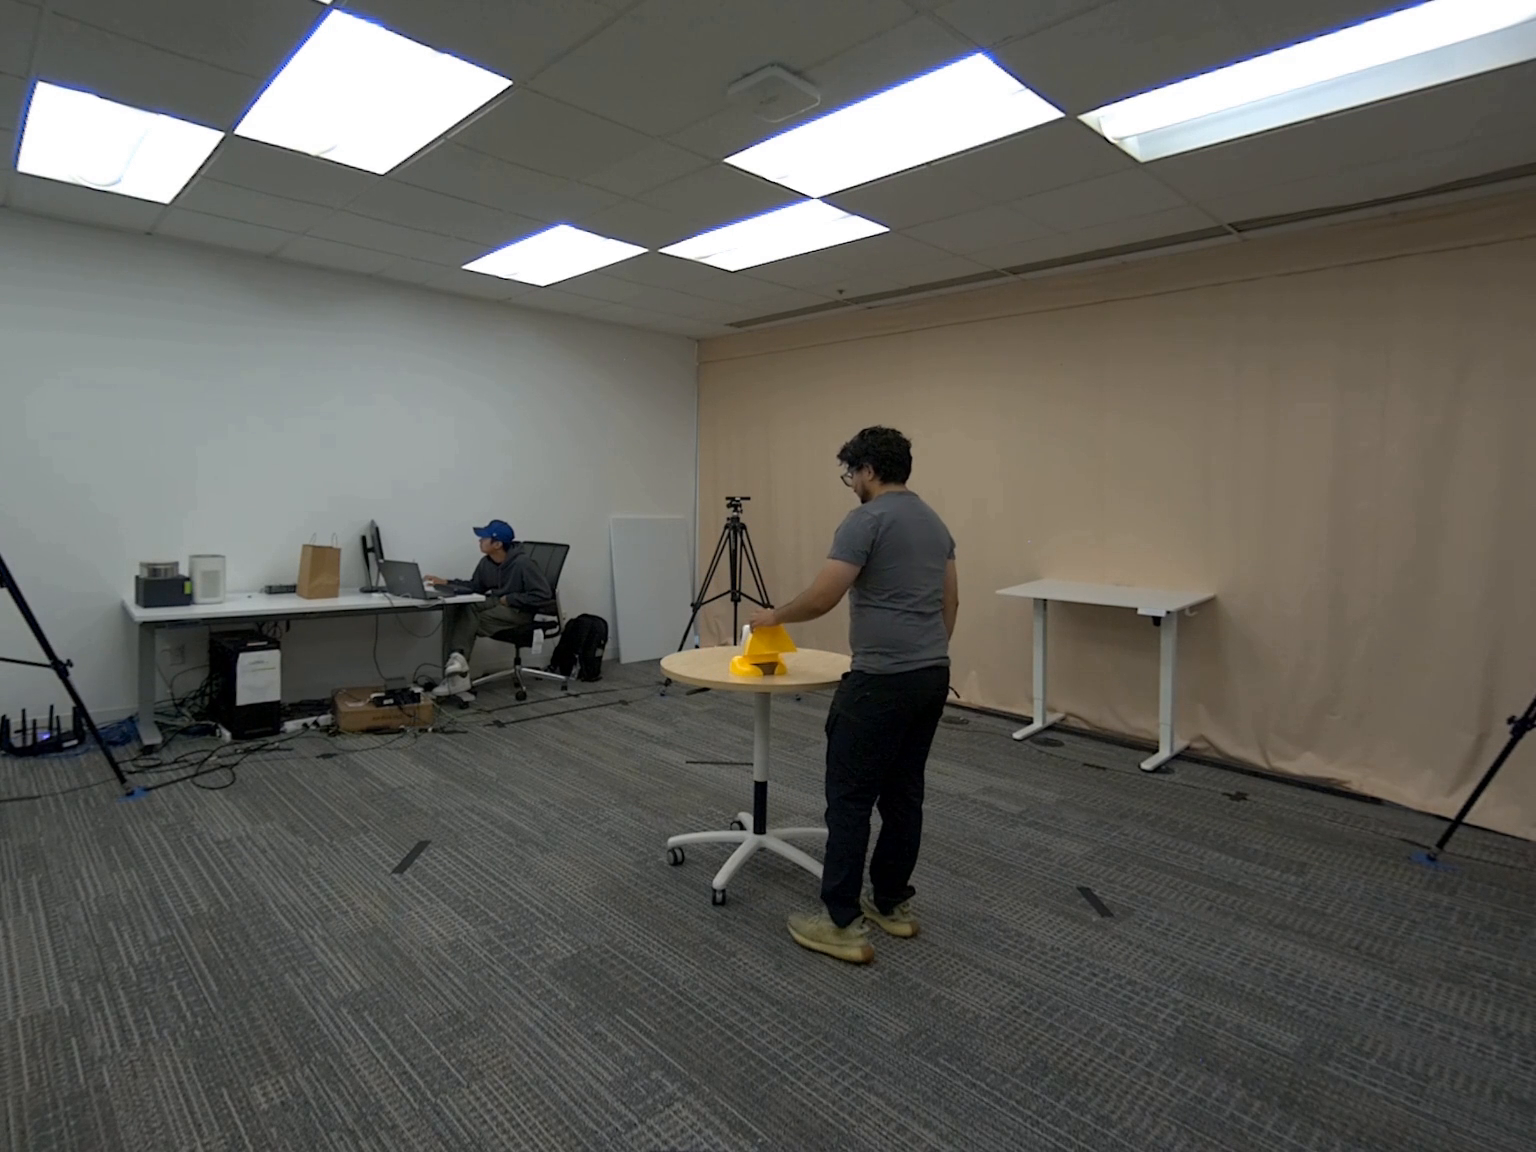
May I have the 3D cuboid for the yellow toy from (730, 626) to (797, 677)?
[{"bbox_3d":[-0.043,0.225,2.955,0.201,0.230,0.197,-2,5,-27],"label":"yellow toy"}]
